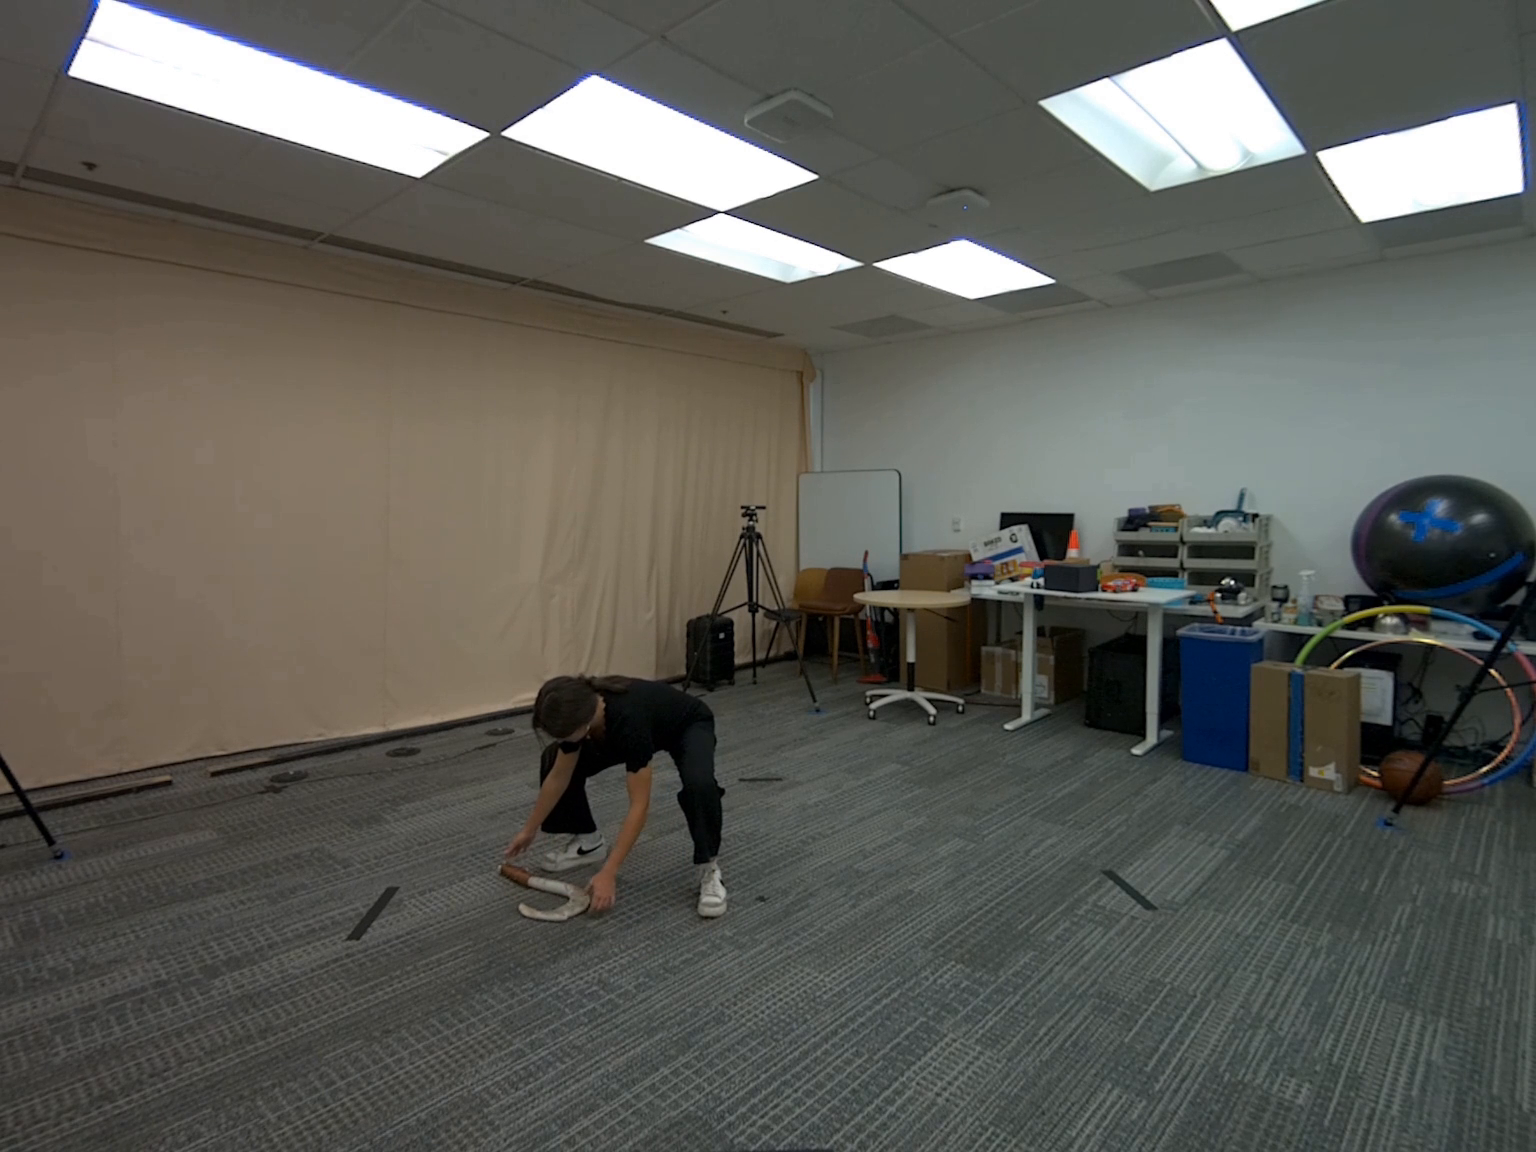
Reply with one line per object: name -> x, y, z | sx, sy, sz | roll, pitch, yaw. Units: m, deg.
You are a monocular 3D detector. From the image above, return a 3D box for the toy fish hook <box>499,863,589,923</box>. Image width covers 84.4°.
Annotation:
toy fish hook -> -0.844, 1.126, 3.010 | 0.523, 0.048, 0.217 | 3, 3, 39
